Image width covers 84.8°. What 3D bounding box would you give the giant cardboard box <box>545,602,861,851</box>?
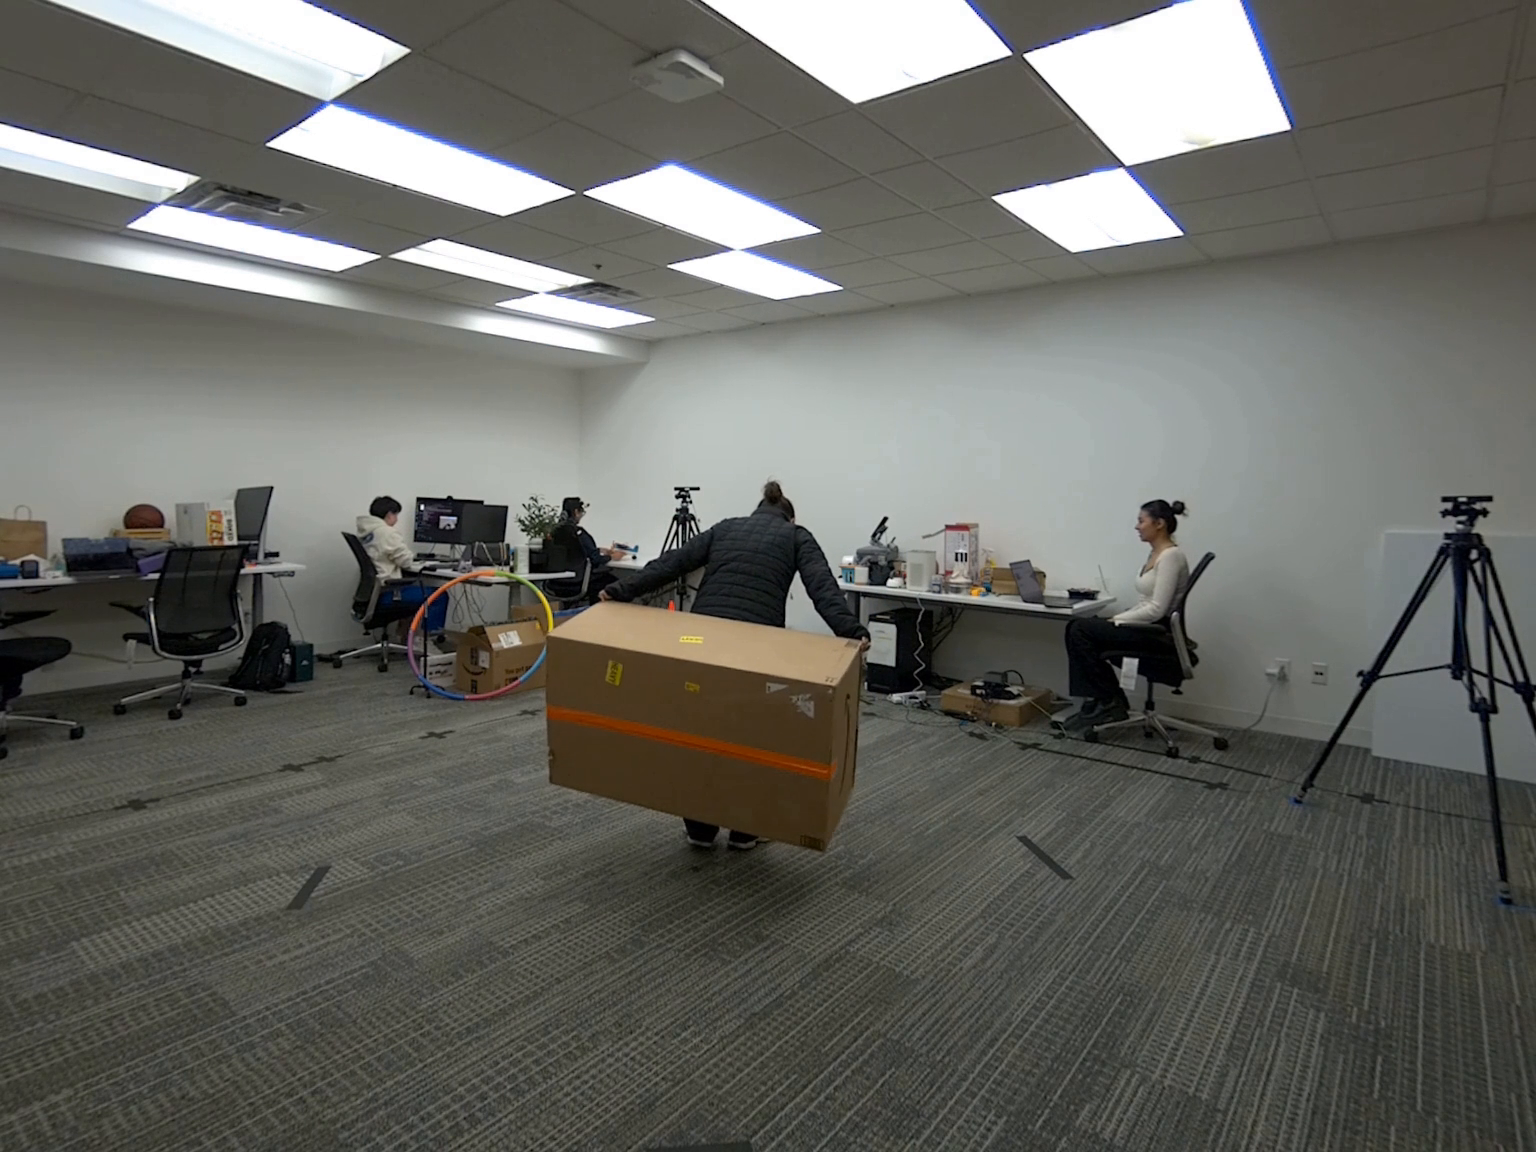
[{"bbox_3d":[-0.215,0.489,3.001,1.049,0.570,0.422,7,15,19],"label":"giant cardboard box"}]
